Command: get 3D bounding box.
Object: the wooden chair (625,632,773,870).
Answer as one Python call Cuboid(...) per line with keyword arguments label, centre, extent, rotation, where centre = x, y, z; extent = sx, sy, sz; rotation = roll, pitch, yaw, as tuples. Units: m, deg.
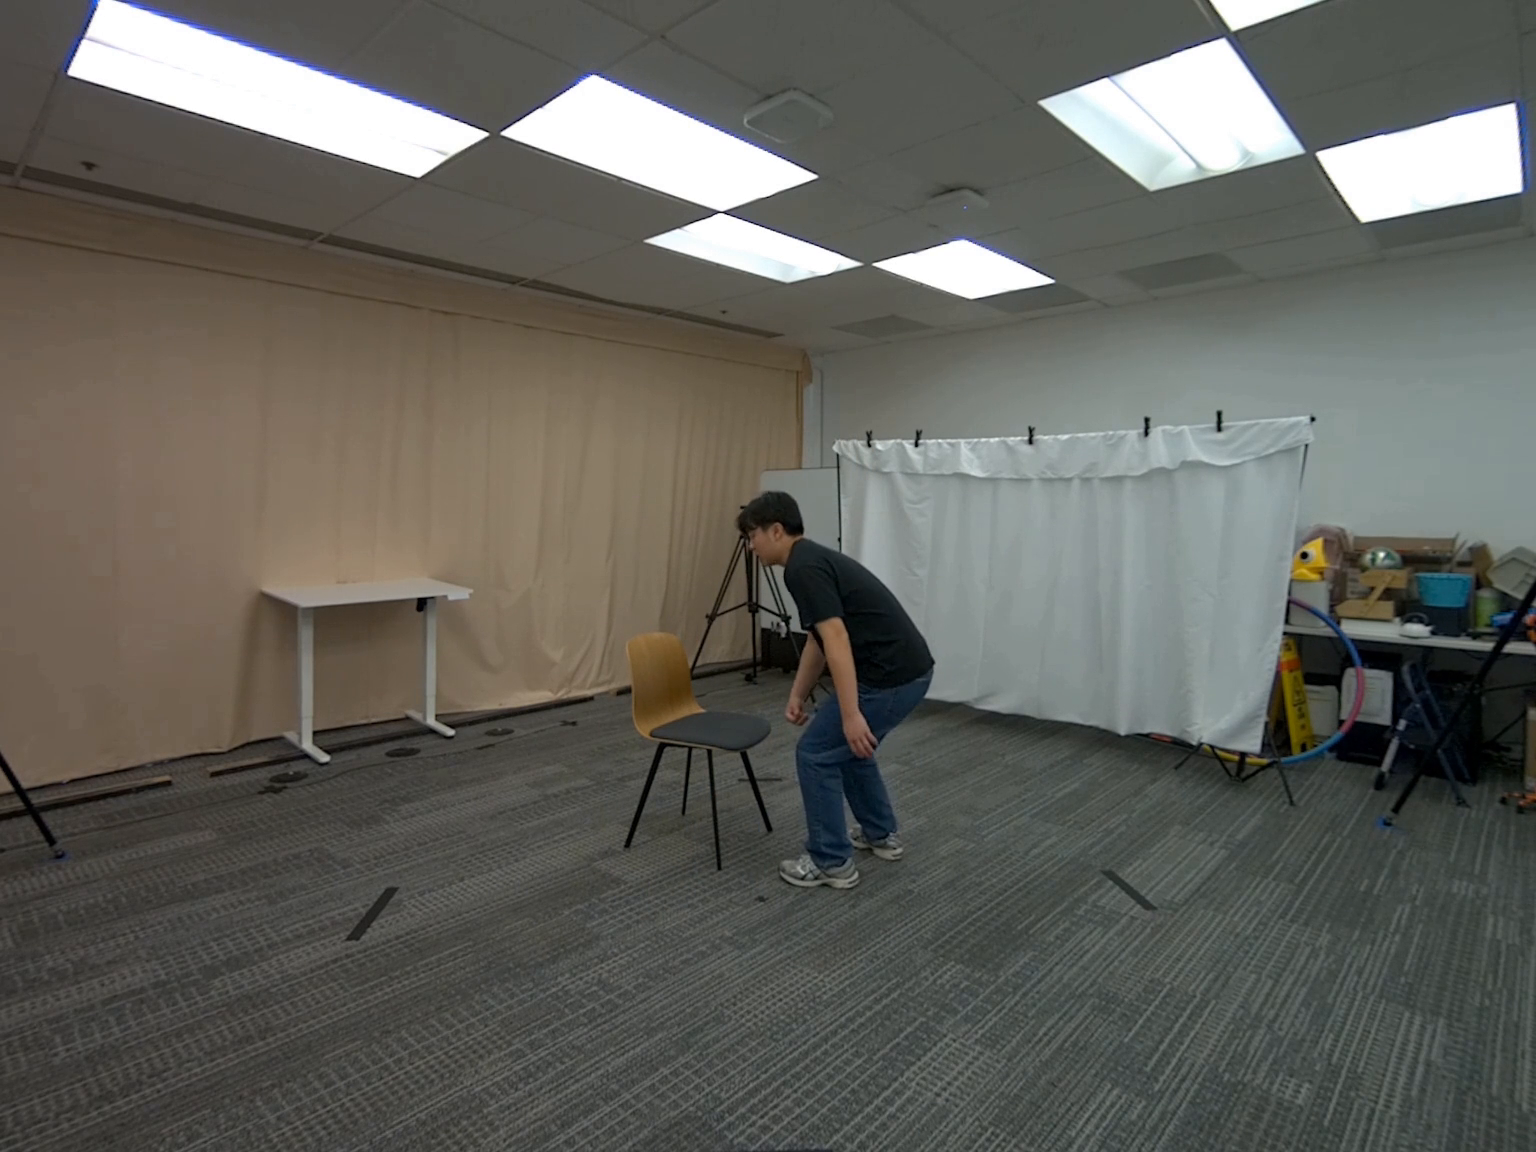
Cuboid(label="wooden chair", centre=(-0.279, 0.677, 3.487), extent=(0.537, 0.877, 0.466), rotation=(-4, 1, 29))
